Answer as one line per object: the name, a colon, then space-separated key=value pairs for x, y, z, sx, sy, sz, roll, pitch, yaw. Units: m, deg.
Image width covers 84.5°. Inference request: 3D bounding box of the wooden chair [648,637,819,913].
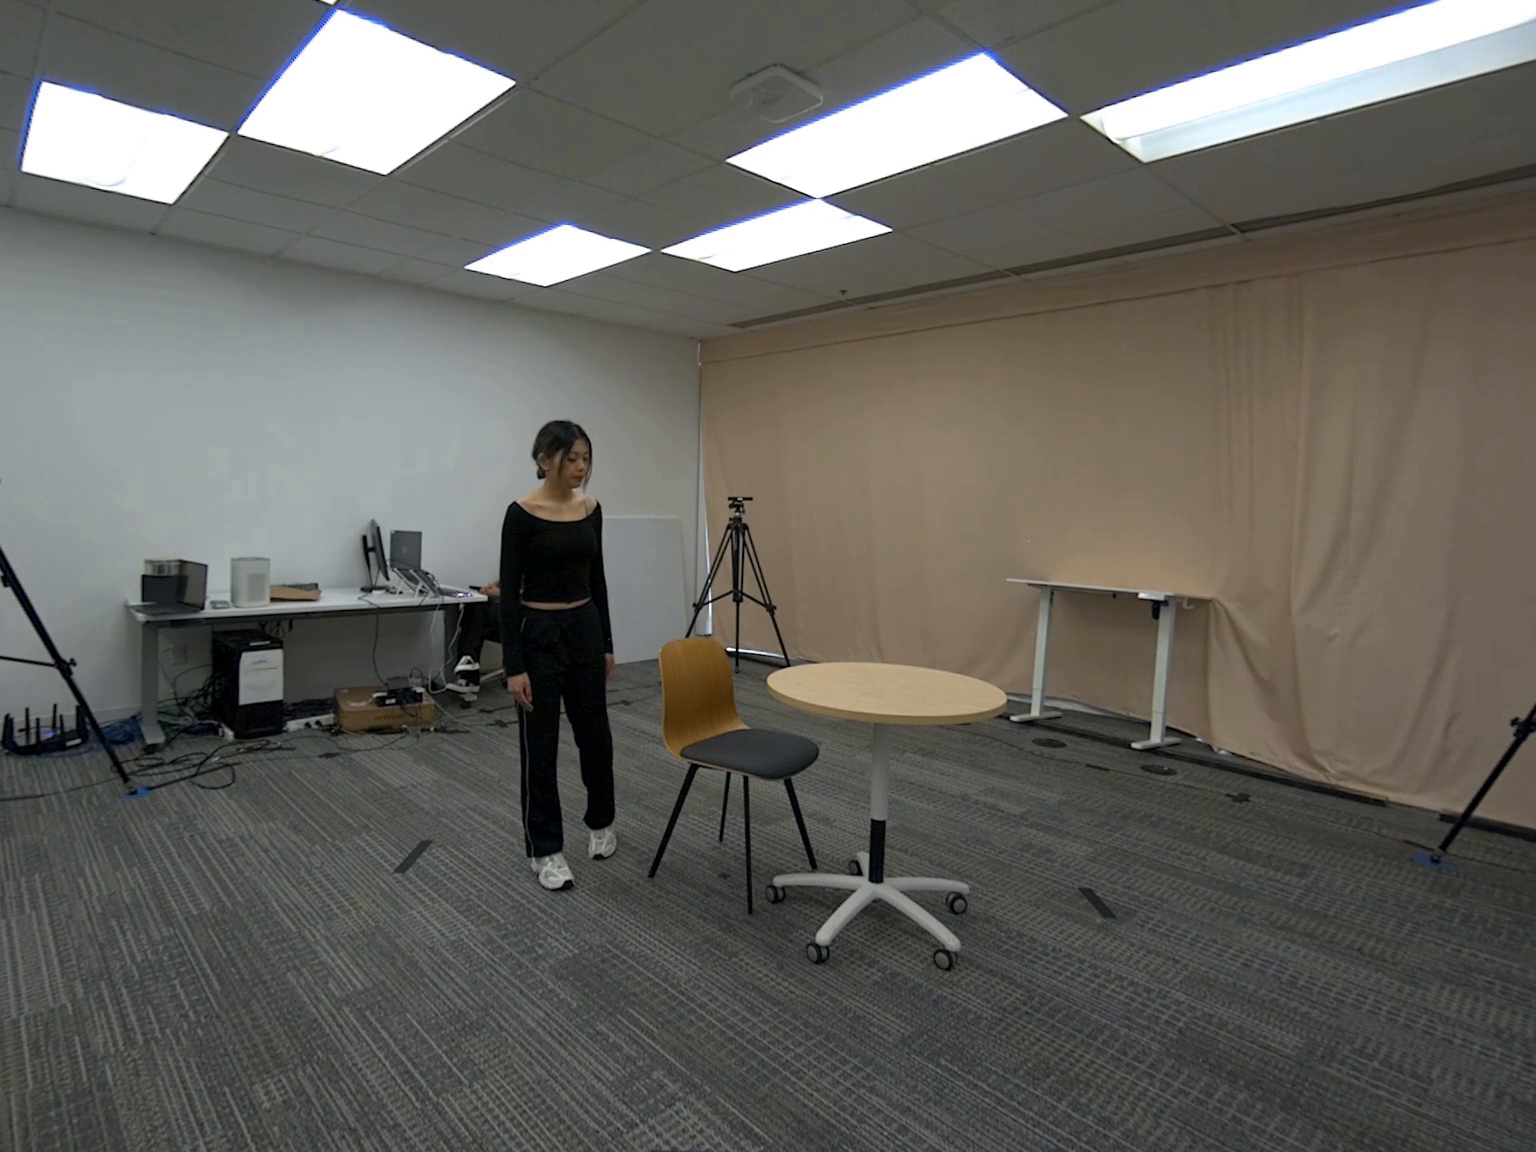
wooden chair: x=-0.114 y=0.679 z=3.095 sx=0.535 sy=0.877 sz=0.468 roll=-1 pitch=1 yaw=35
